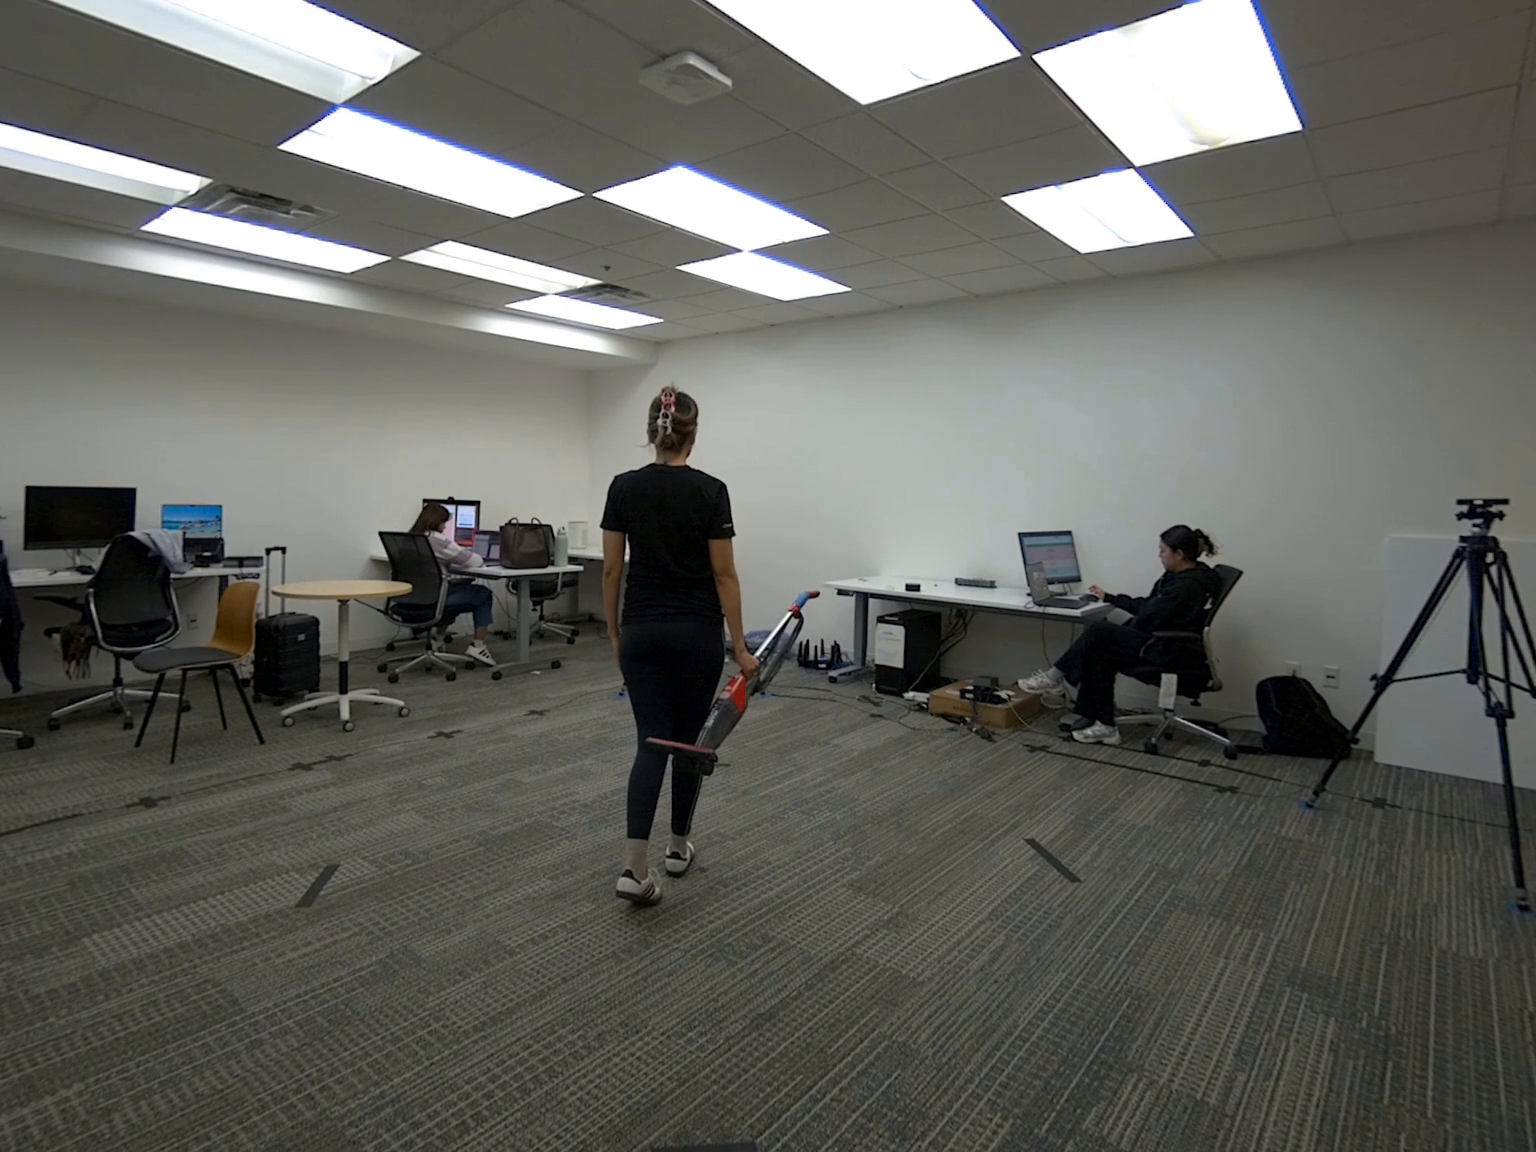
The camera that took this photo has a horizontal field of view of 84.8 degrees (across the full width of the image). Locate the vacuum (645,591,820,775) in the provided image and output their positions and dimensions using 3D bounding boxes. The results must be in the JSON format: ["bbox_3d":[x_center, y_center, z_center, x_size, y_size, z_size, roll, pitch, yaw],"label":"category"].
[{"bbox_3d":[-0.023,0.324,3.057,0.260,0.140,1.047,0,29,30],"label":"vacuum"}]
